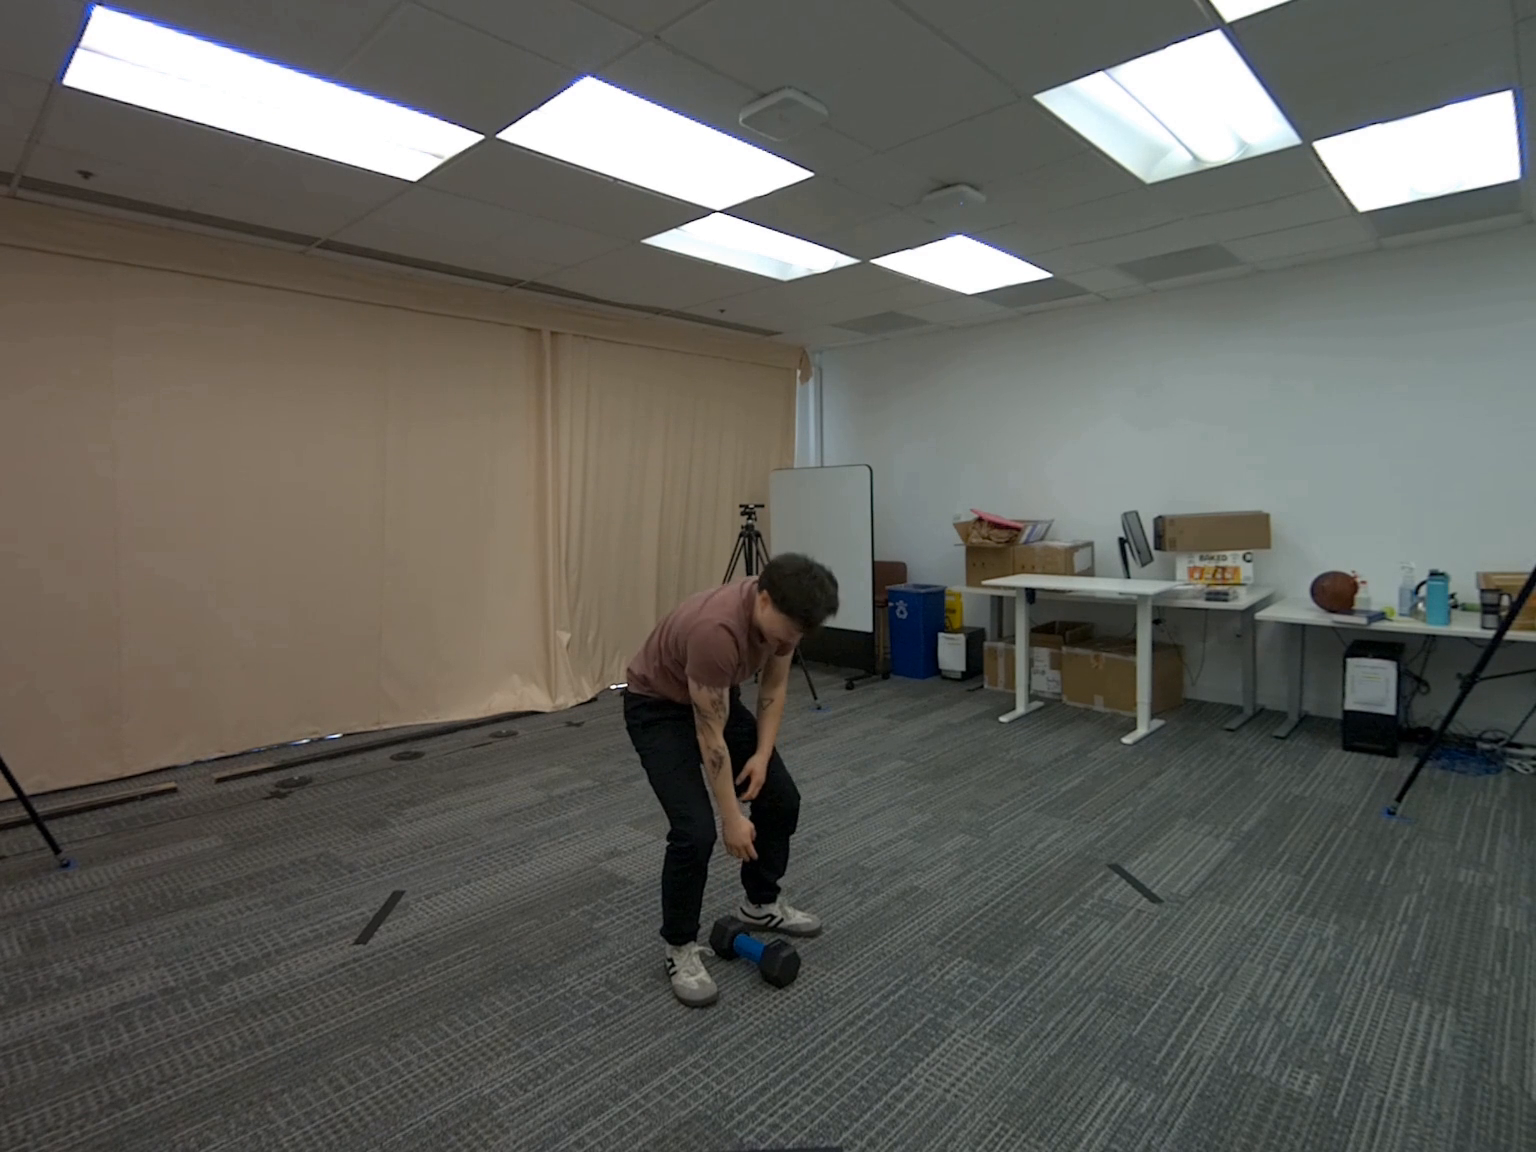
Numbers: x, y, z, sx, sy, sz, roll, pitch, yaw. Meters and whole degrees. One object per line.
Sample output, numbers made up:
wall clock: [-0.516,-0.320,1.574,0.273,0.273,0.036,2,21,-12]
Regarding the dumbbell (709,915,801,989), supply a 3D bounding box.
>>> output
dumbbell: [-0.042,1.129,2.525,0.303,0.120,0.107,5,37,45]
